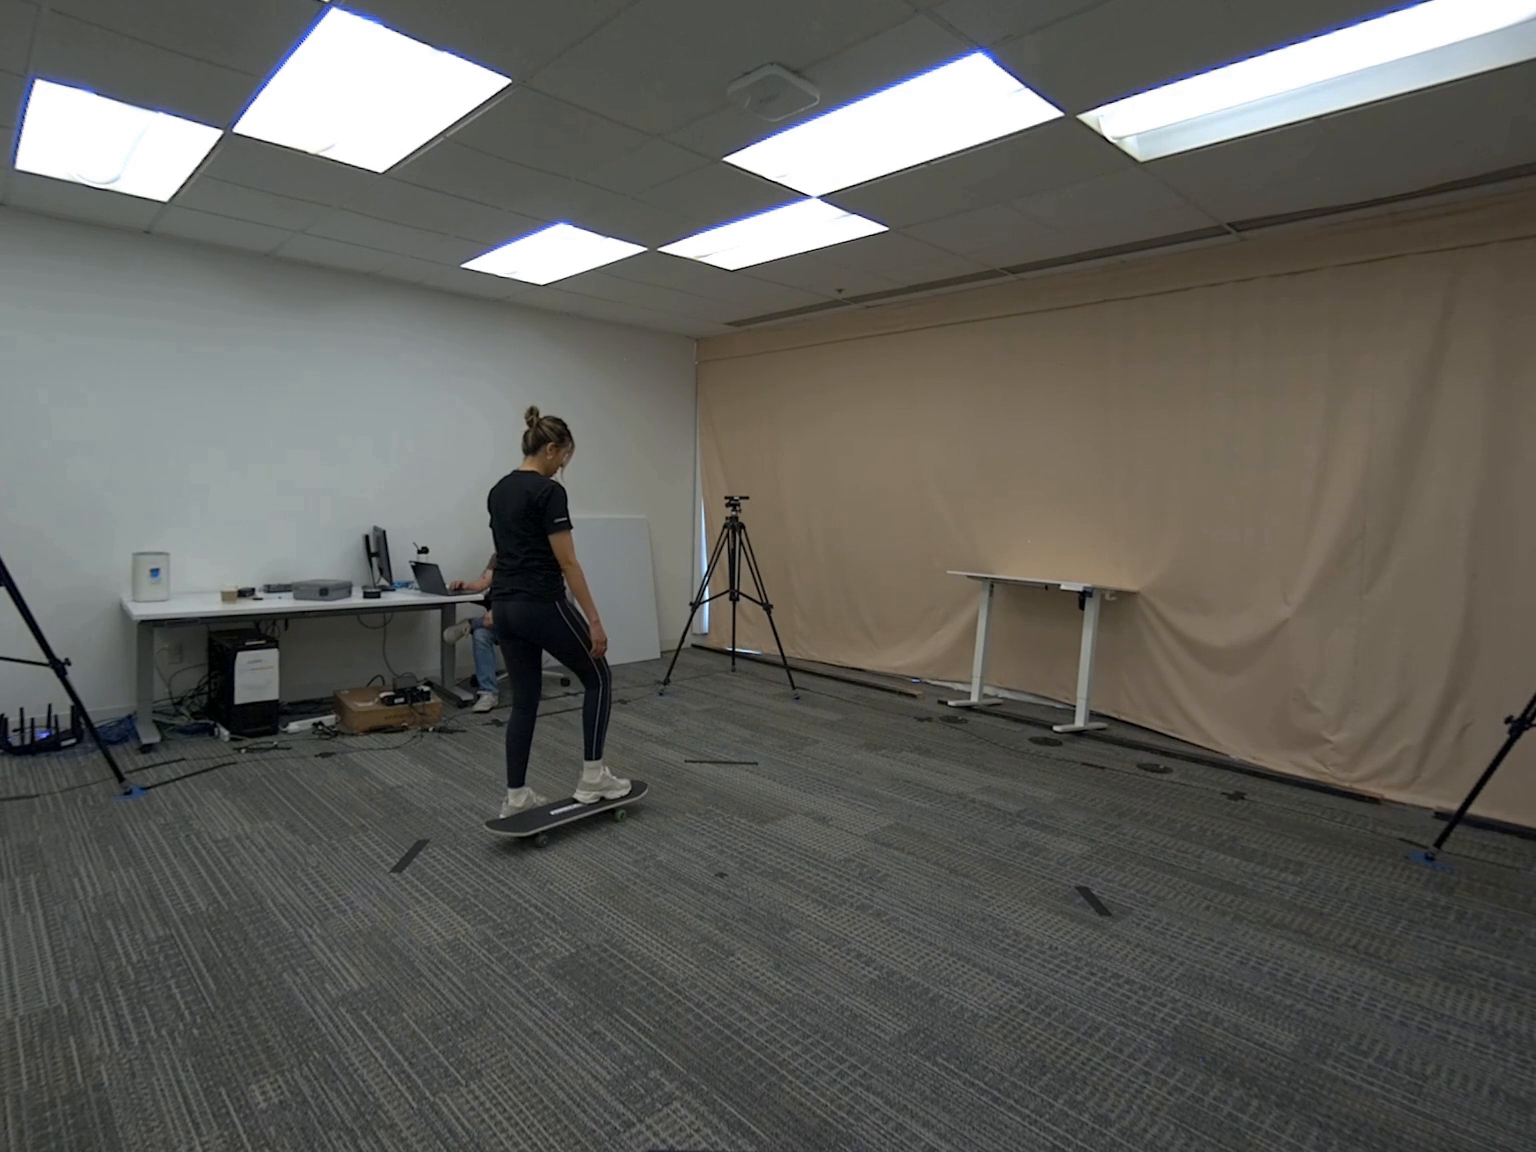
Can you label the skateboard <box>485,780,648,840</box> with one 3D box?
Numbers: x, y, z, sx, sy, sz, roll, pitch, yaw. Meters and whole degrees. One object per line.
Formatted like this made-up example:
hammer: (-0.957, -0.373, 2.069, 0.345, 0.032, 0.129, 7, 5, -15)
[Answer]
skateboard: (-0.830, 0.999, 3.501, 0.198, 0.110, 0.768, 5, 6, 41)
